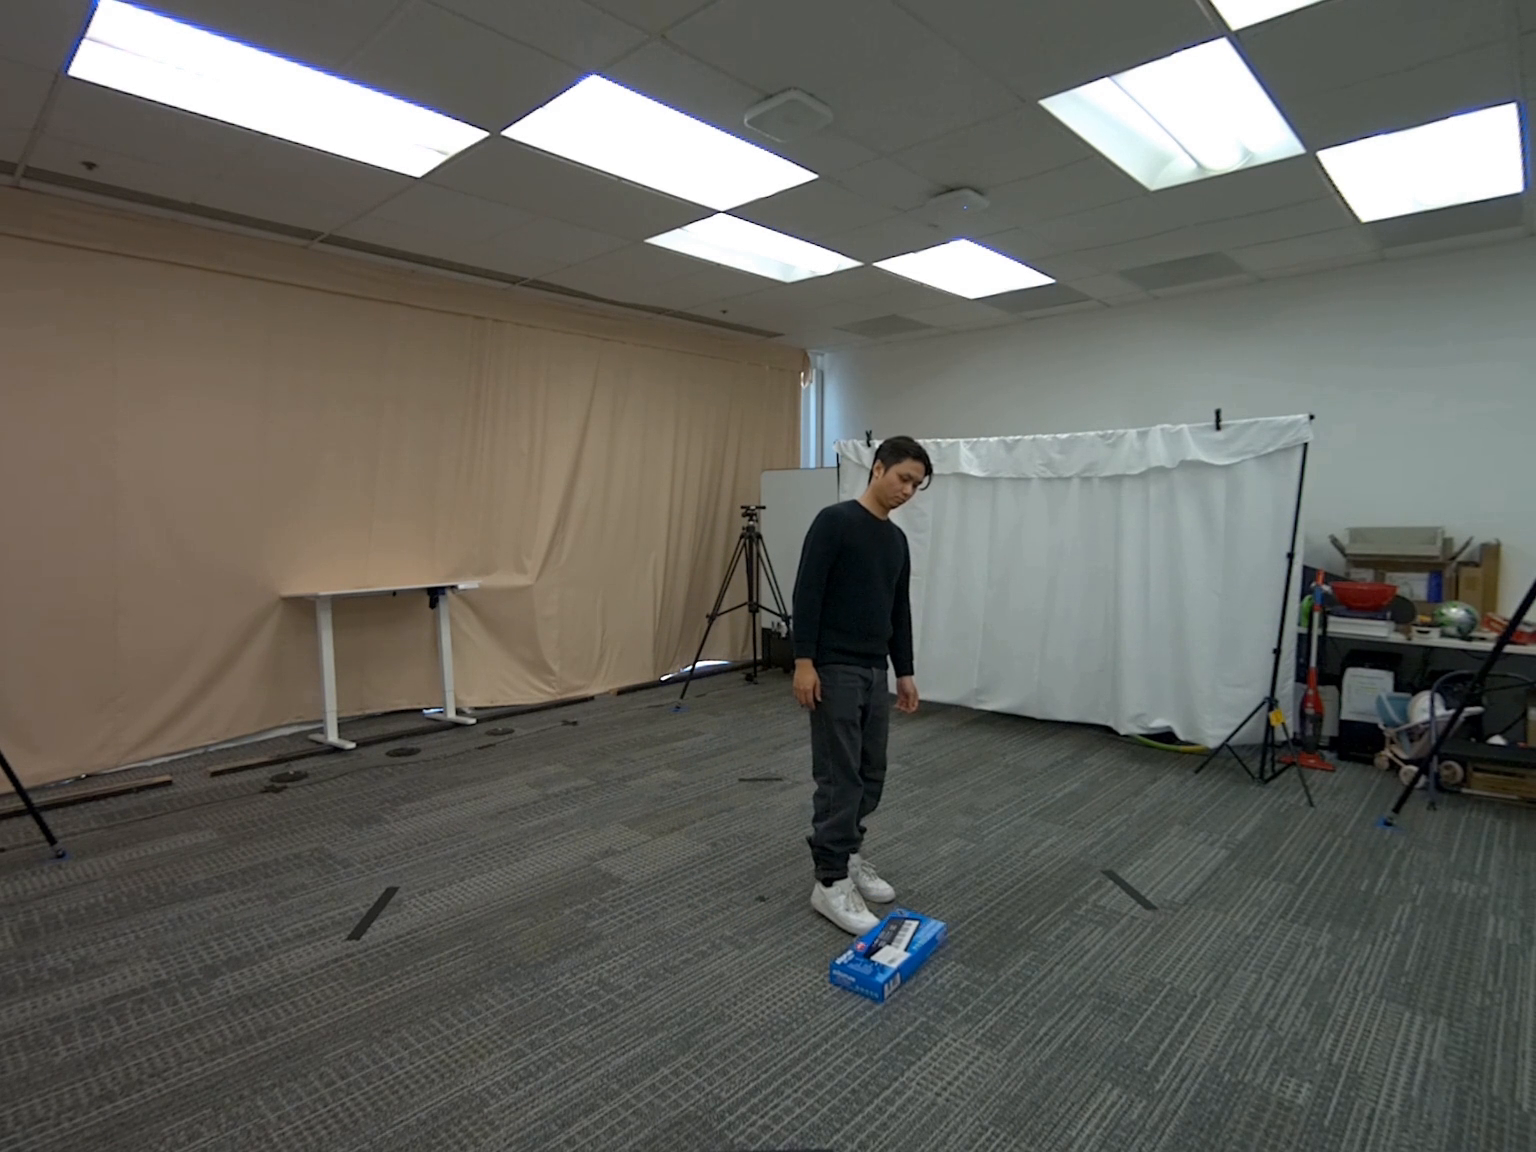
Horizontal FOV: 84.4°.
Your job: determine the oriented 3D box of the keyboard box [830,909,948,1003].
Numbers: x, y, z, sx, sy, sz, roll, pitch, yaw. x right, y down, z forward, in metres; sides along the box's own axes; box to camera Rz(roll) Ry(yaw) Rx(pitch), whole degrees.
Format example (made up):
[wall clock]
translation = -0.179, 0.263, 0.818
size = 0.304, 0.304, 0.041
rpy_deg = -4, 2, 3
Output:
[keyboard box]
translation = 0.381, 1.145, 2.570
size = 0.182, 0.059, 0.424
rpy_deg = 4, 7, 36
